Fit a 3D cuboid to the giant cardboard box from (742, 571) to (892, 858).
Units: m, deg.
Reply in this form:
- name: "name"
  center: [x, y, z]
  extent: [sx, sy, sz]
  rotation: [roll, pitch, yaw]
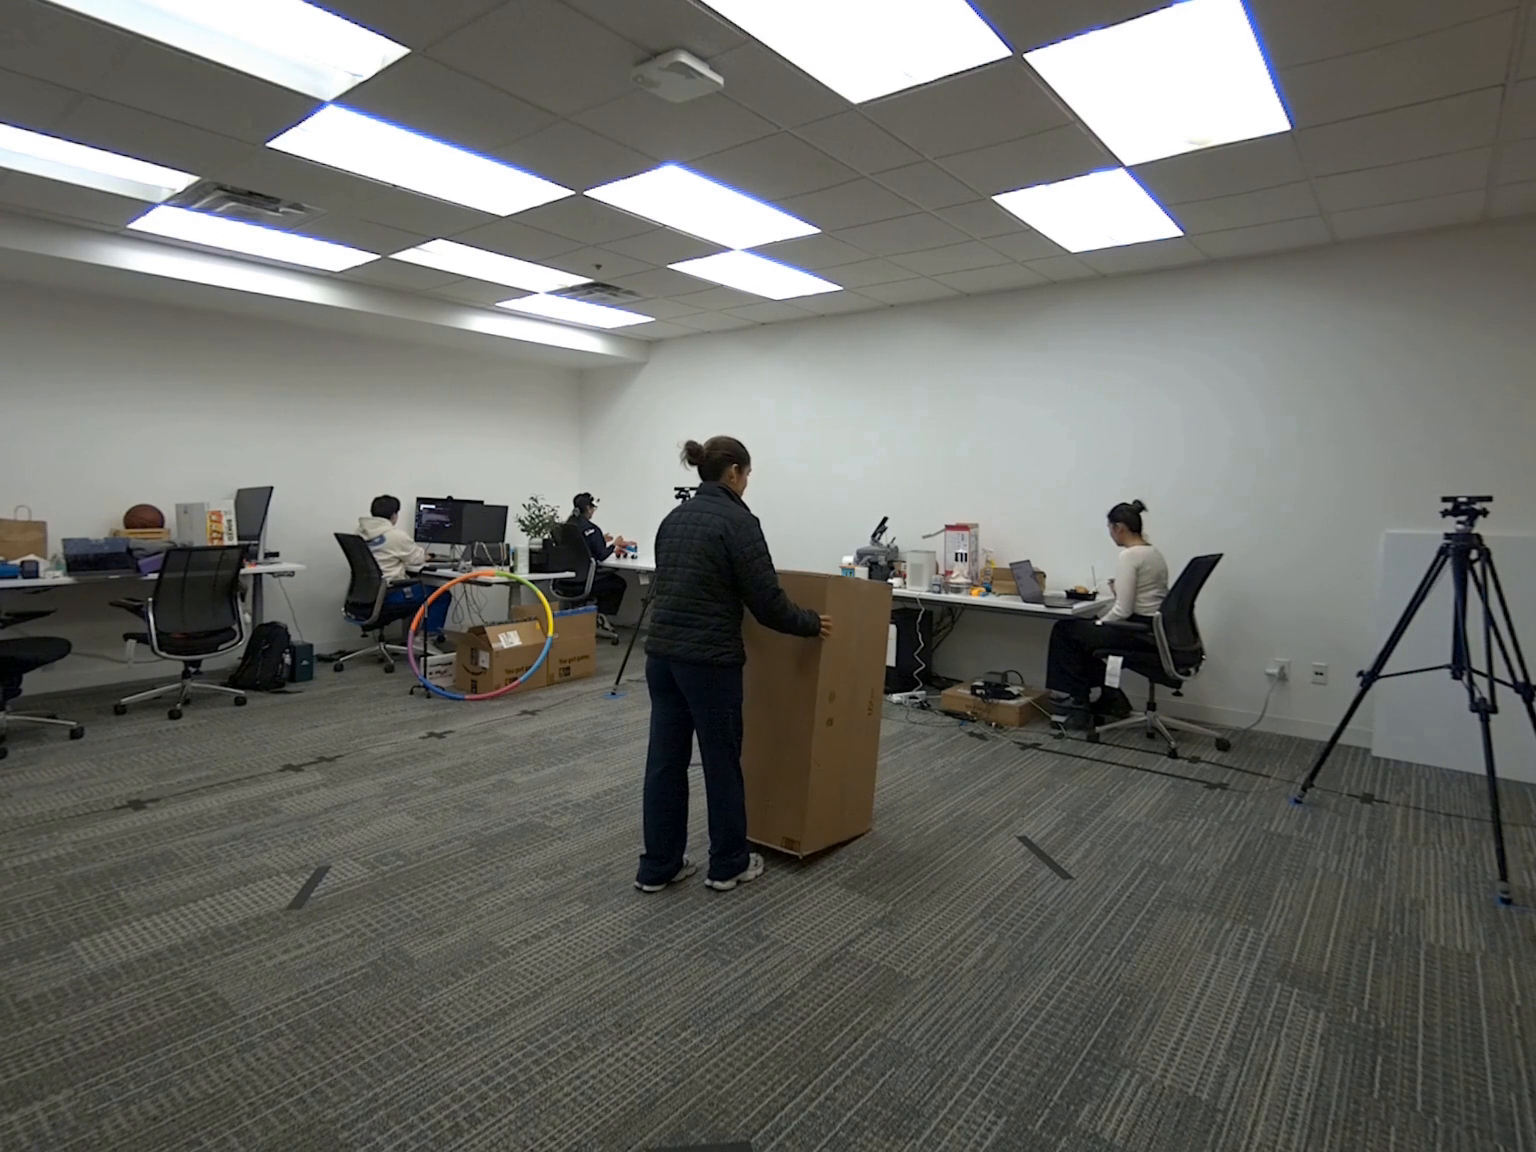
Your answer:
- name: "giant cardboard box"
  center: [0.167, 0.503, 3.438]
  extent: [0.440, 1.028, 0.558]
  rotation: [4, -3, 36]
